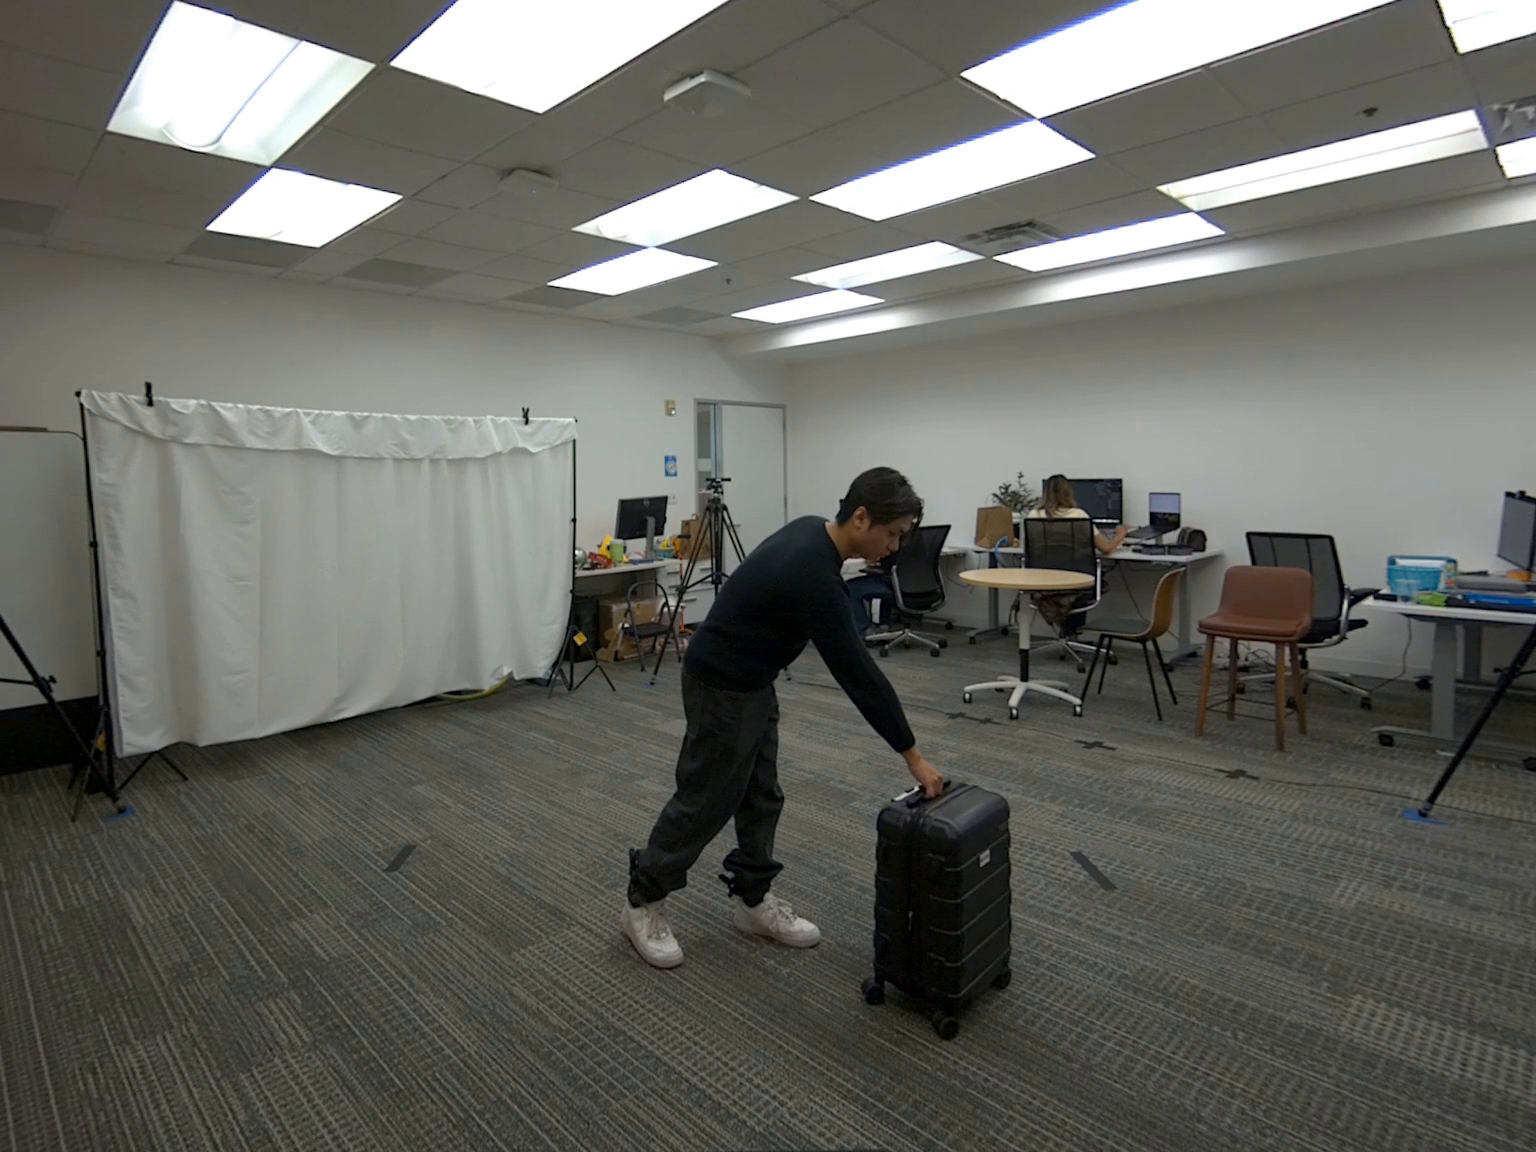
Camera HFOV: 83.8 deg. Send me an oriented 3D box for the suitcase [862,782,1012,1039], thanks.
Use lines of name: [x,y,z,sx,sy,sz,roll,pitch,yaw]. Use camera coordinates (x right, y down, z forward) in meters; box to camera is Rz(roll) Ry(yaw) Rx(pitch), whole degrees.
suitcase: [0.474,0.851,2.298,0.256,0.547,0.365,4,5,43]
